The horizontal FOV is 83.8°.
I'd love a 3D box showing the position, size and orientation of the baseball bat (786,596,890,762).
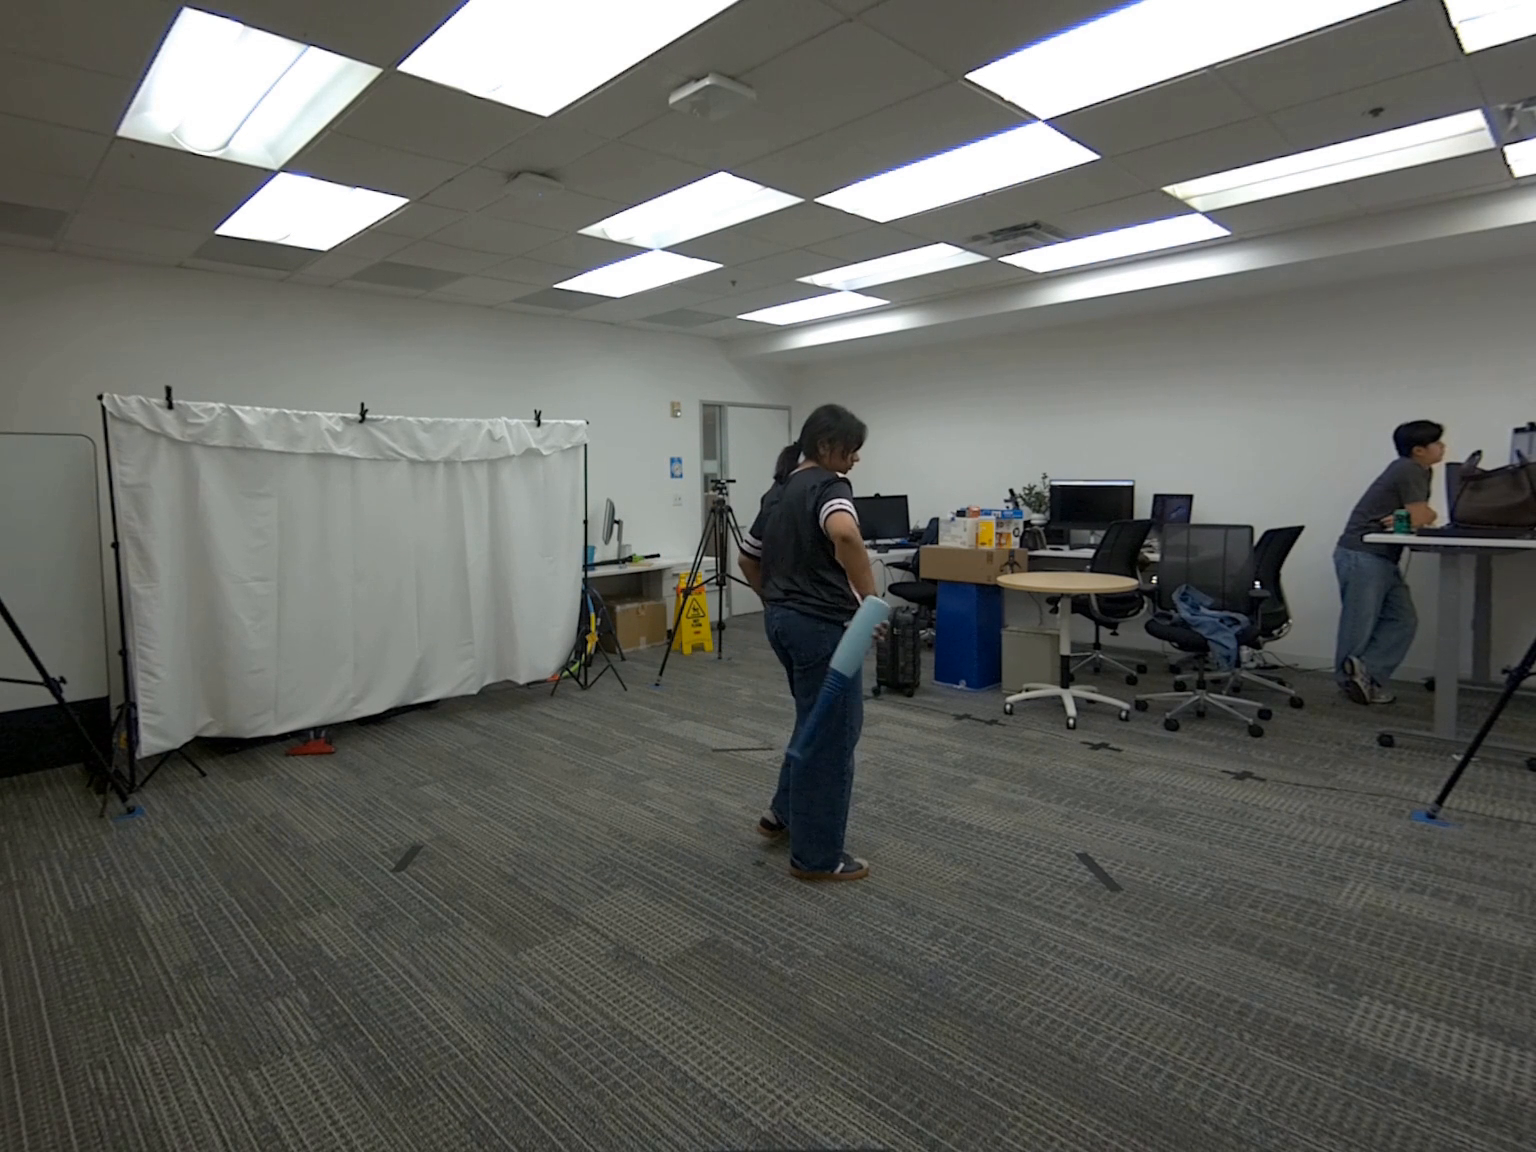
[{"bbox_3d":[0.200,0.306,2.567,0.089,0.544,0.088,28,-6,1],"label":"baseball bat"}]
